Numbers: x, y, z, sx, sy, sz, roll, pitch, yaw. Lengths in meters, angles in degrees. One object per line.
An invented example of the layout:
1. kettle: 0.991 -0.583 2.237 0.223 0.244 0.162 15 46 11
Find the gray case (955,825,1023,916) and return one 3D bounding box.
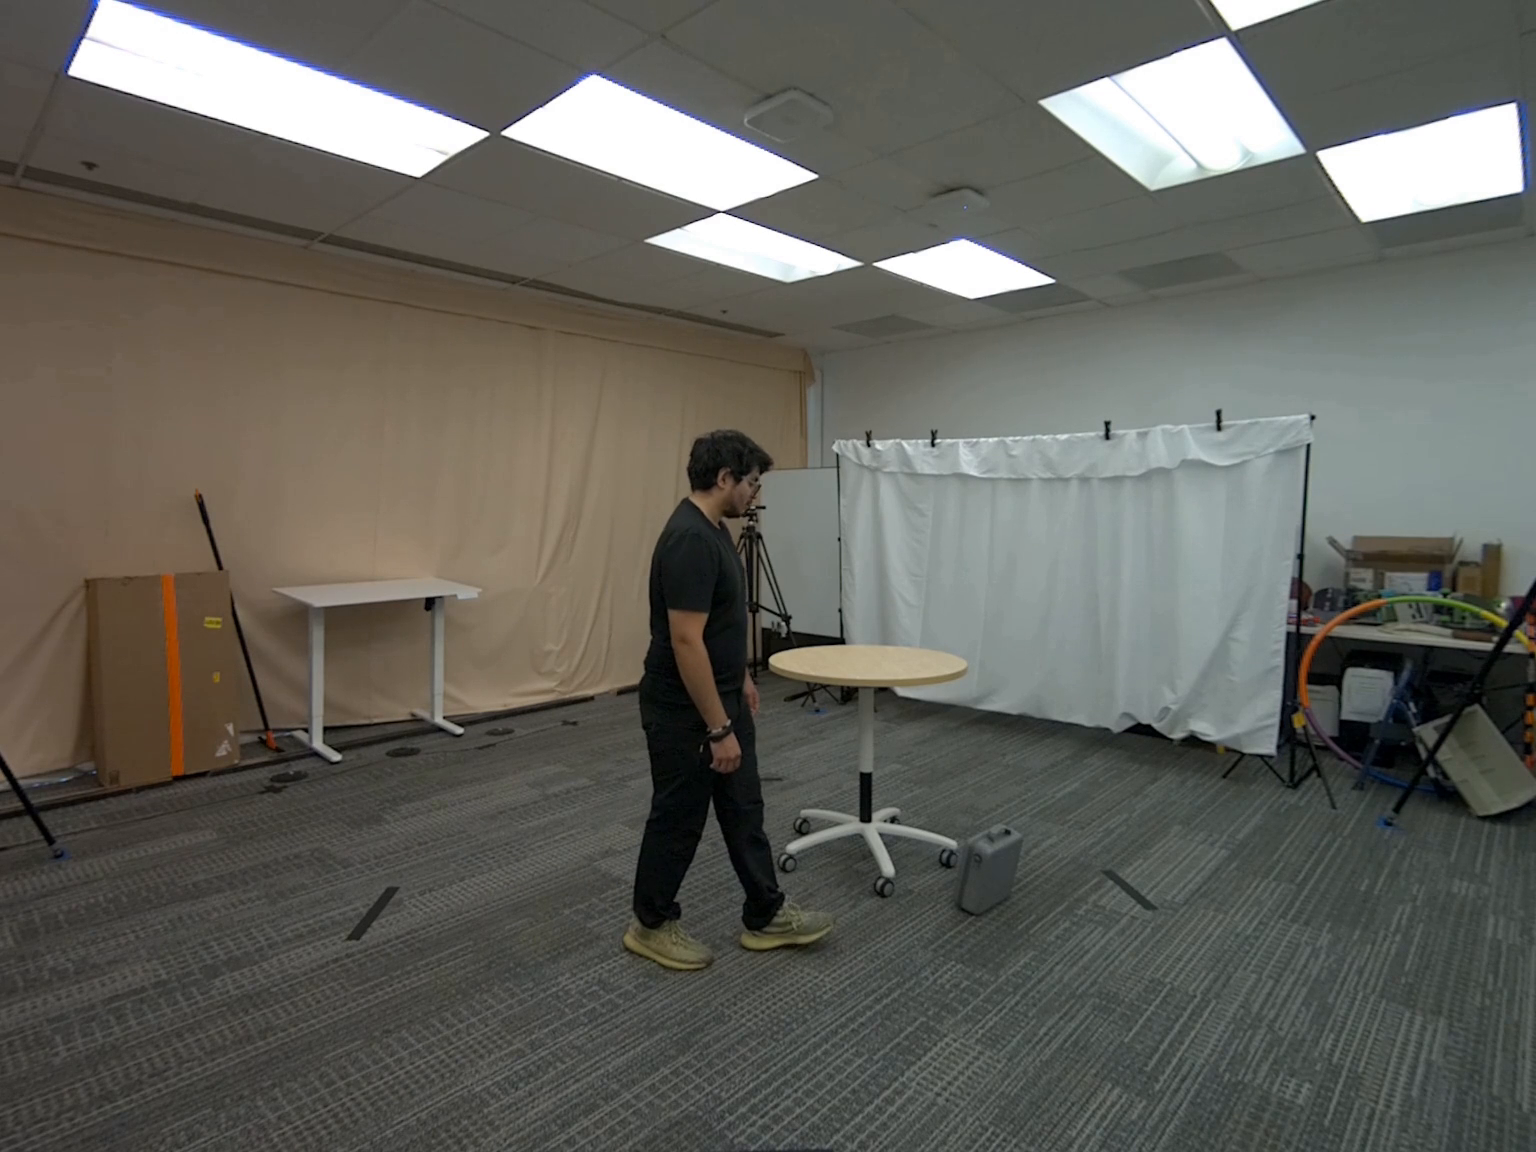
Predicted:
1. gray case: 0.775 1.012 2.927 0.249 0.259 0.108 -2 14 -44
